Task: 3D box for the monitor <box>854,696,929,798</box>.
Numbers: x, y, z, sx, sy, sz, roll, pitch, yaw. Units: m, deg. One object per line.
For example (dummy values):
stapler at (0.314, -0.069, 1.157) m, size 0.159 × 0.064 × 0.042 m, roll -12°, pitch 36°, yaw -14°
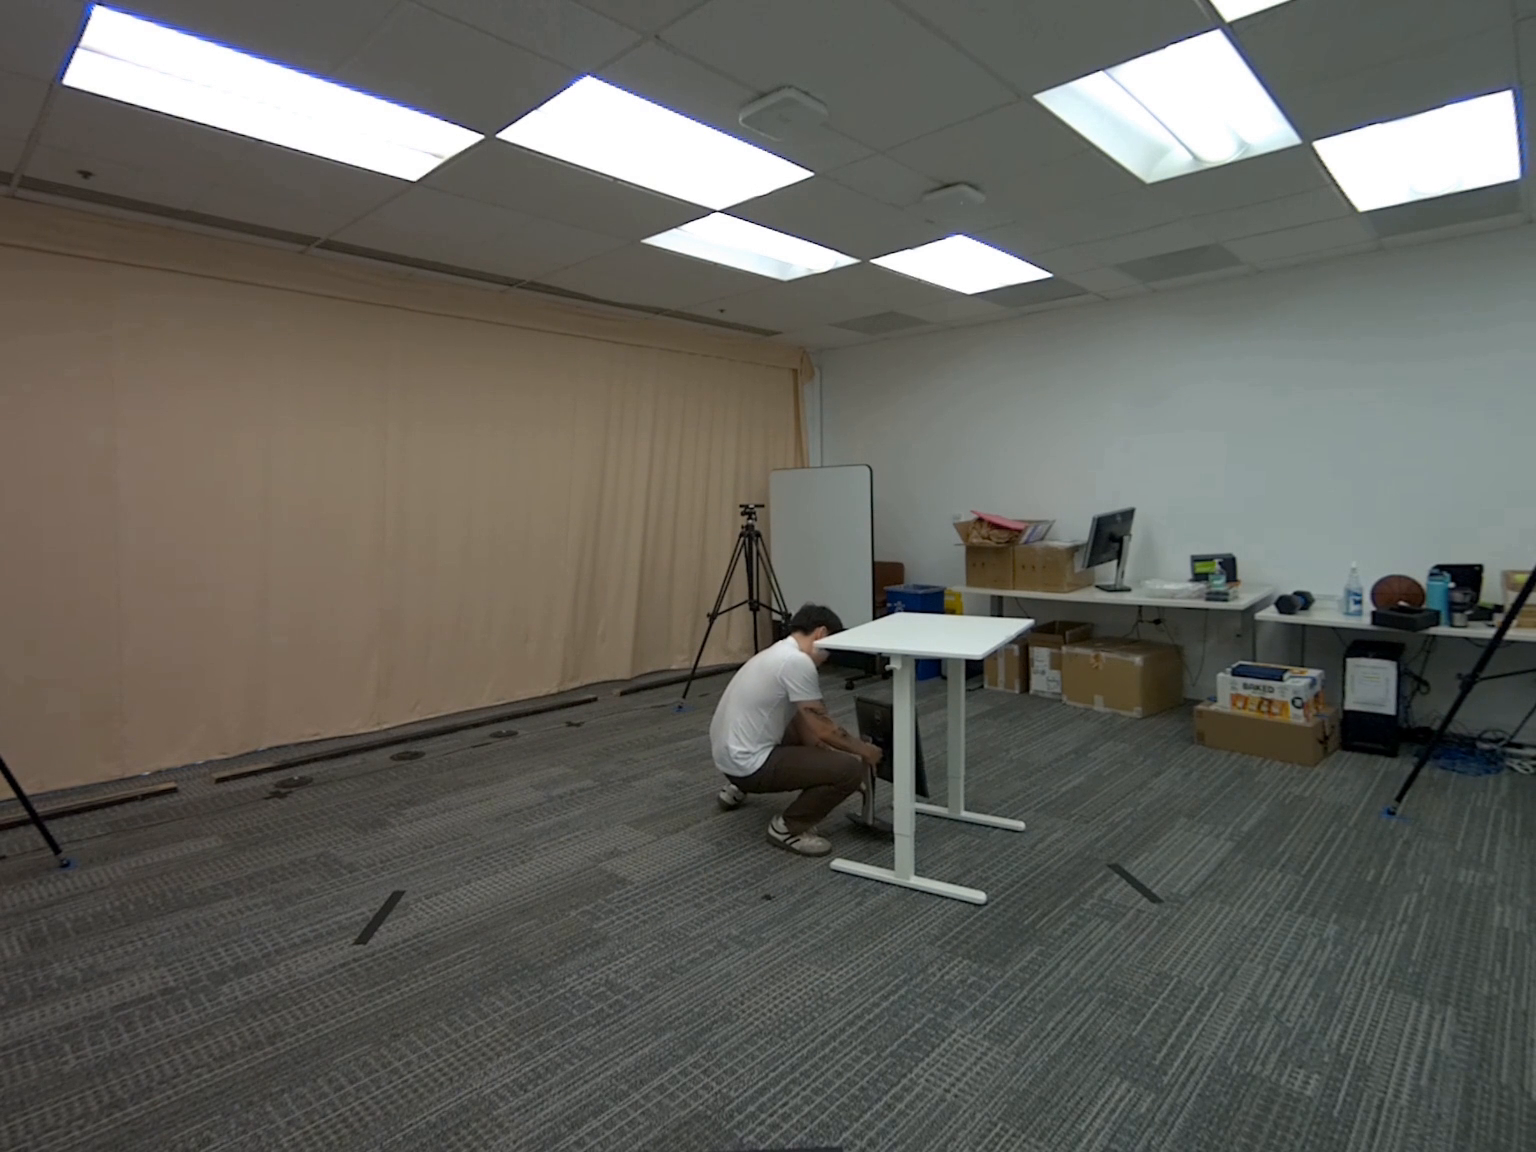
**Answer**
monitor at (0.486, 0.796, 3.561) m, size 0.183 × 0.523 × 0.549 m, roll 10°, pitch -3°, yaw -19°
